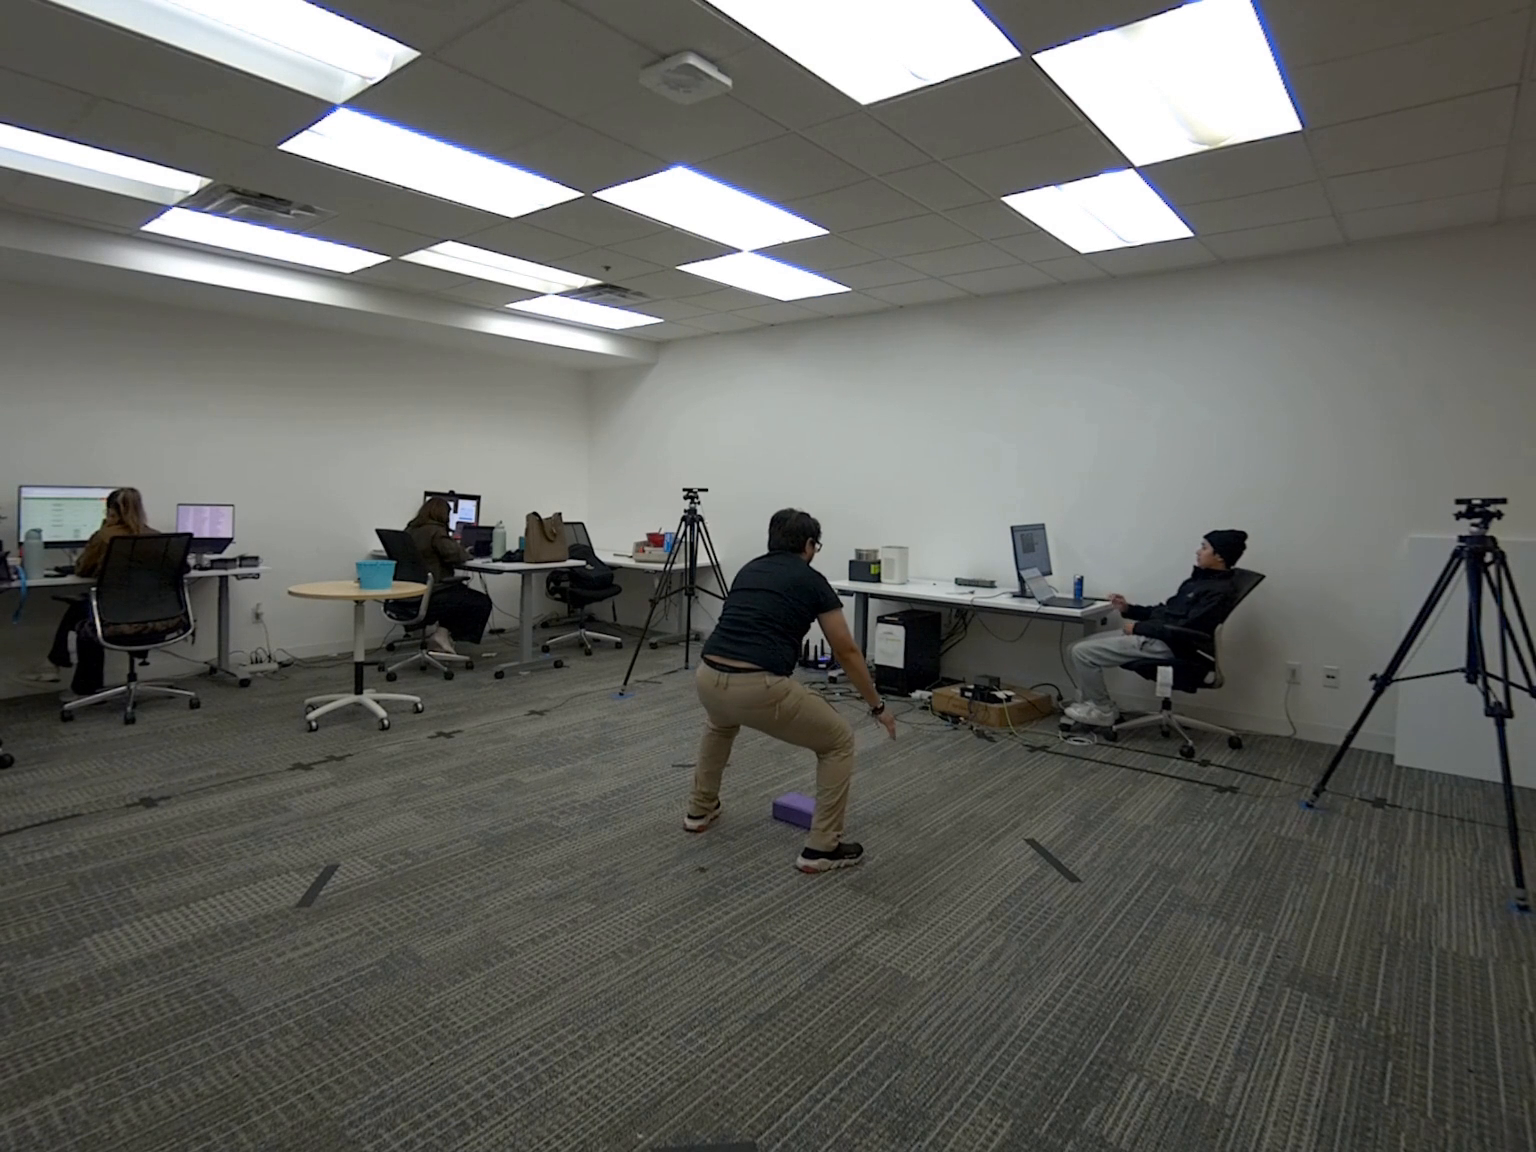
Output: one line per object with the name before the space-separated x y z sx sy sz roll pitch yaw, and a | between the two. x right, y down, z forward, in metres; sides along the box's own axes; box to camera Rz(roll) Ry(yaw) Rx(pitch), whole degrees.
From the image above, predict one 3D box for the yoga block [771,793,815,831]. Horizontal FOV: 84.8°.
yoga block | 0.142 0.991 3.602 0.237 0.076 0.145 4 7 39
